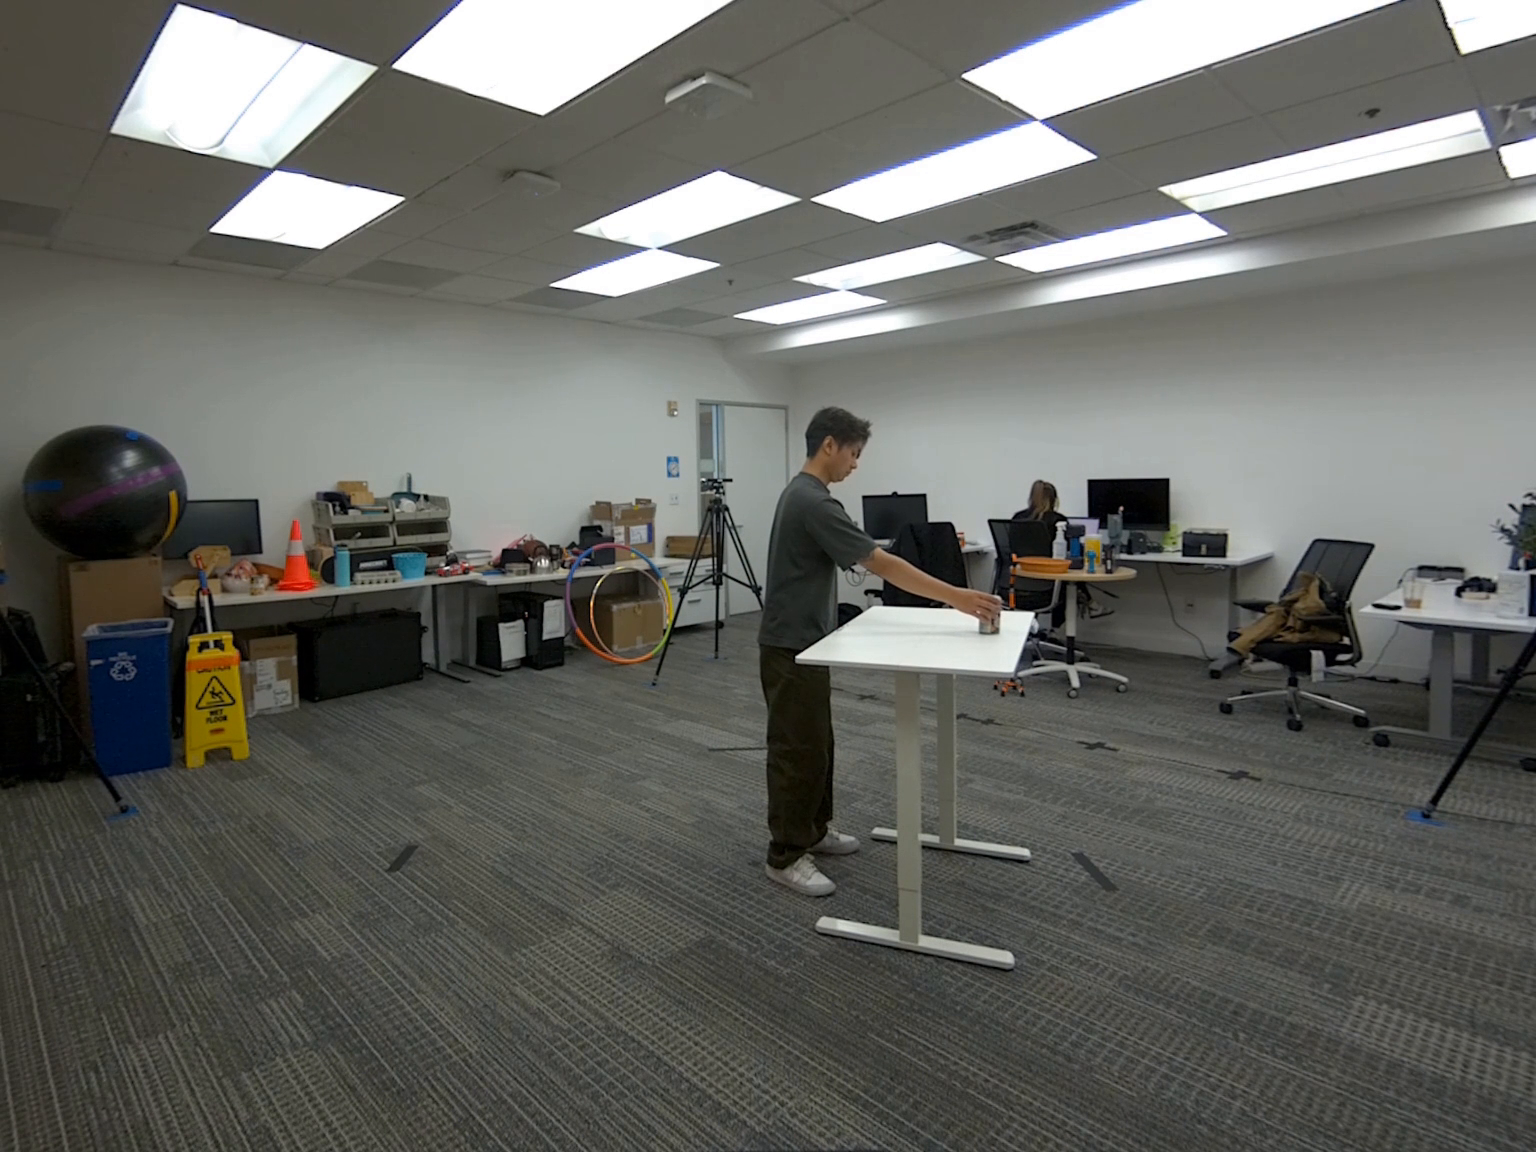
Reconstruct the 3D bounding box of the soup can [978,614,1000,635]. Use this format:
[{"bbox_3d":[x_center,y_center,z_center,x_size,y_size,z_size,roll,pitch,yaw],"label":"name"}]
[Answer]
[{"bbox_3d":[0.720,0.124,2.767,0.067,0.121,0.067,4,4,-2],"label":"soup can"}]
